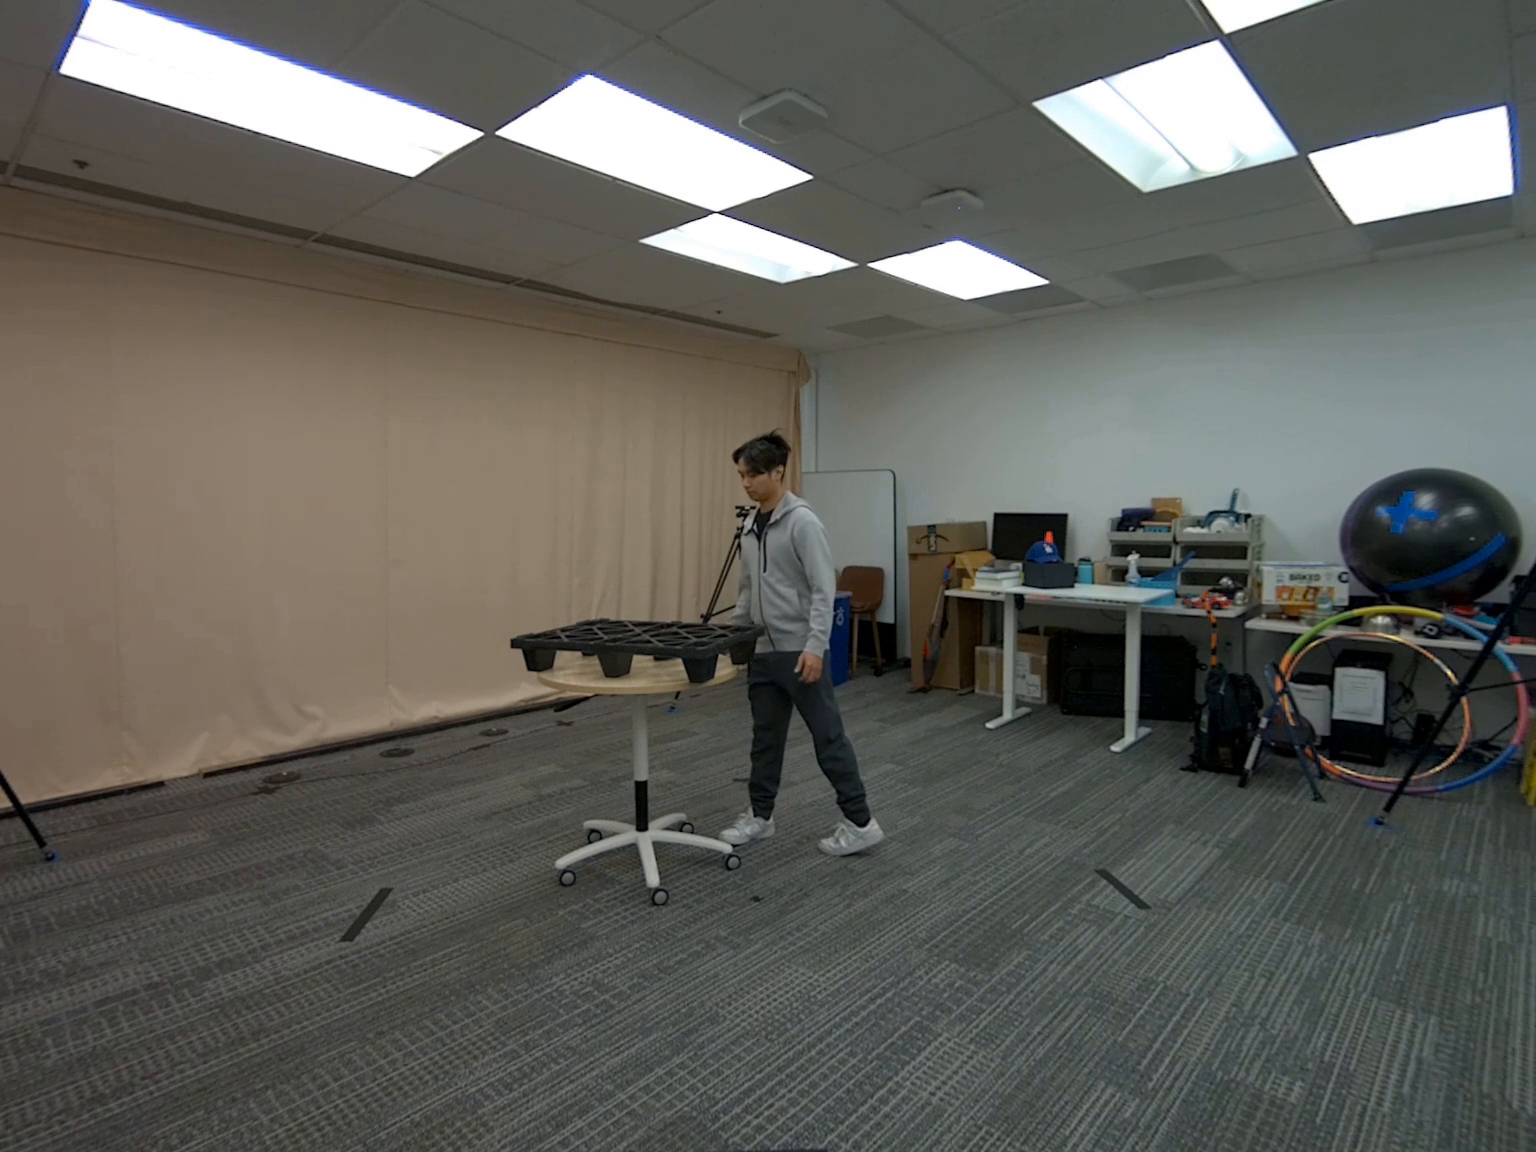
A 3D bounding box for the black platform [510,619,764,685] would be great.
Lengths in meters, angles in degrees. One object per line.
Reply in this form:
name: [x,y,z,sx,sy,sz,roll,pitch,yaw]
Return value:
black platform: [-0.483,0.277,3.236,0.825,0.143,0.592,1,4,24]
